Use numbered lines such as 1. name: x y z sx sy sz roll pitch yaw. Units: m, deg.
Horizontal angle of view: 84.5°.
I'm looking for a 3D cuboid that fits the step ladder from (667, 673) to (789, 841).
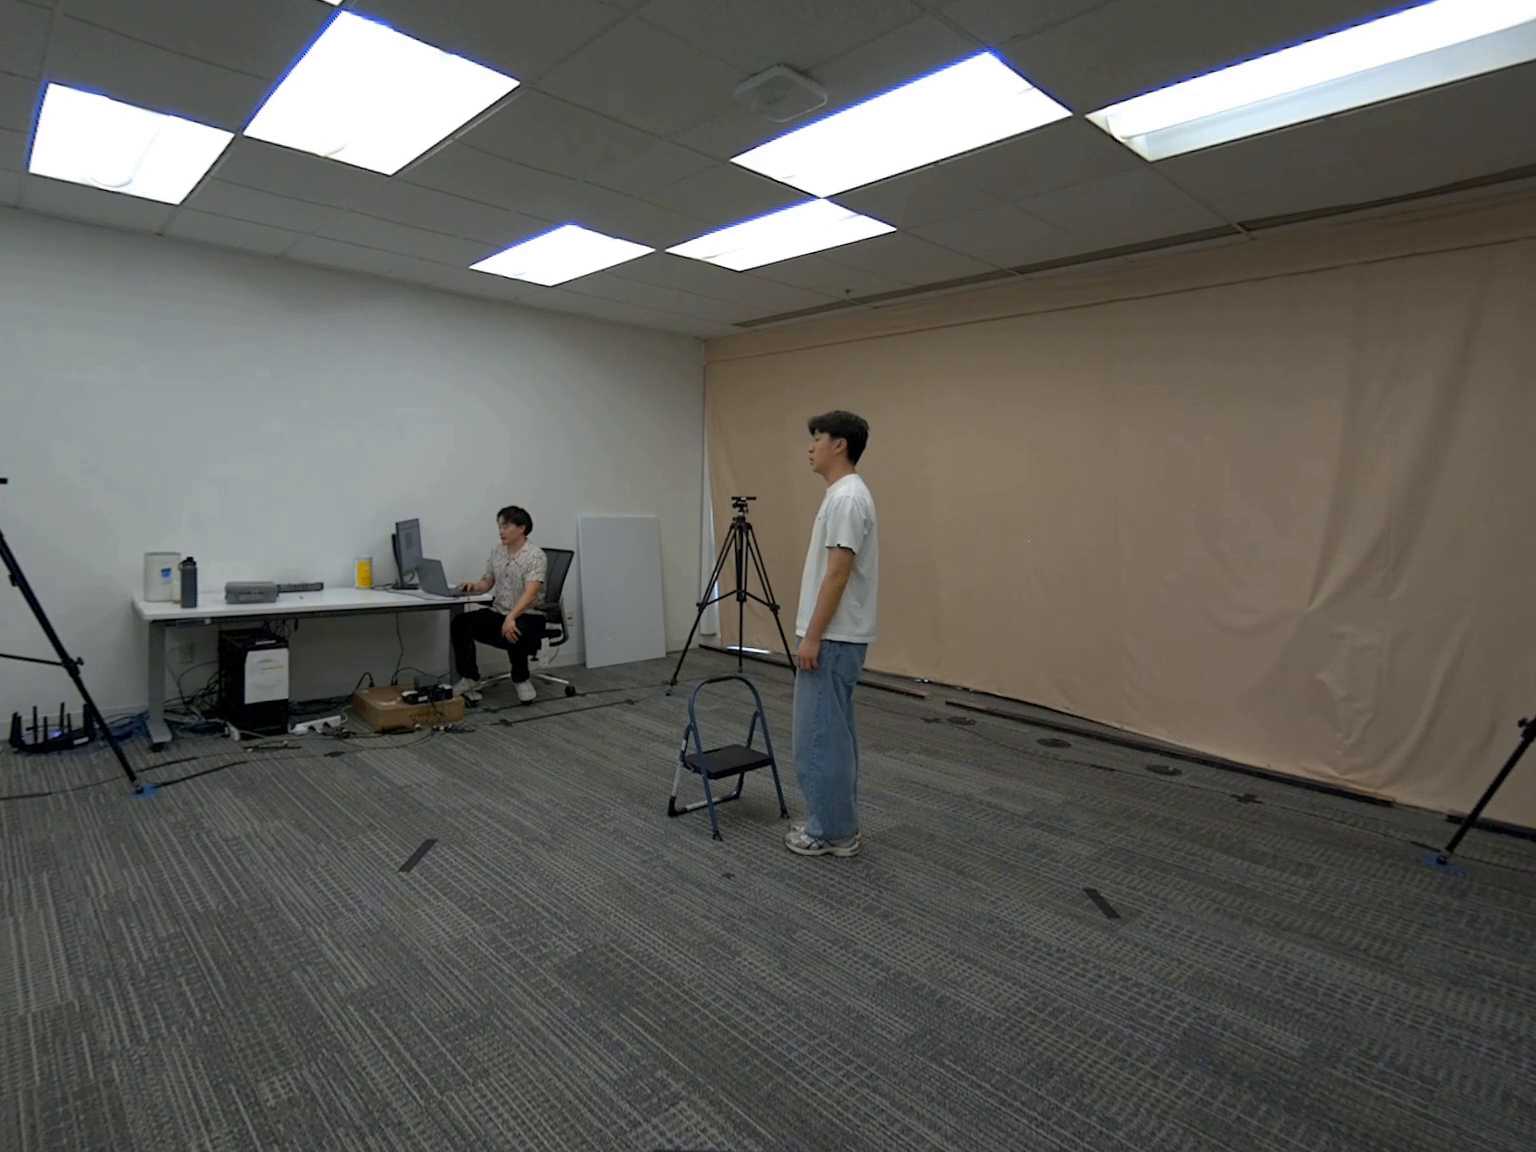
1. step ladder: -0.174 0.750 3.673 0.420 0.605 0.358 -1 5 -44
